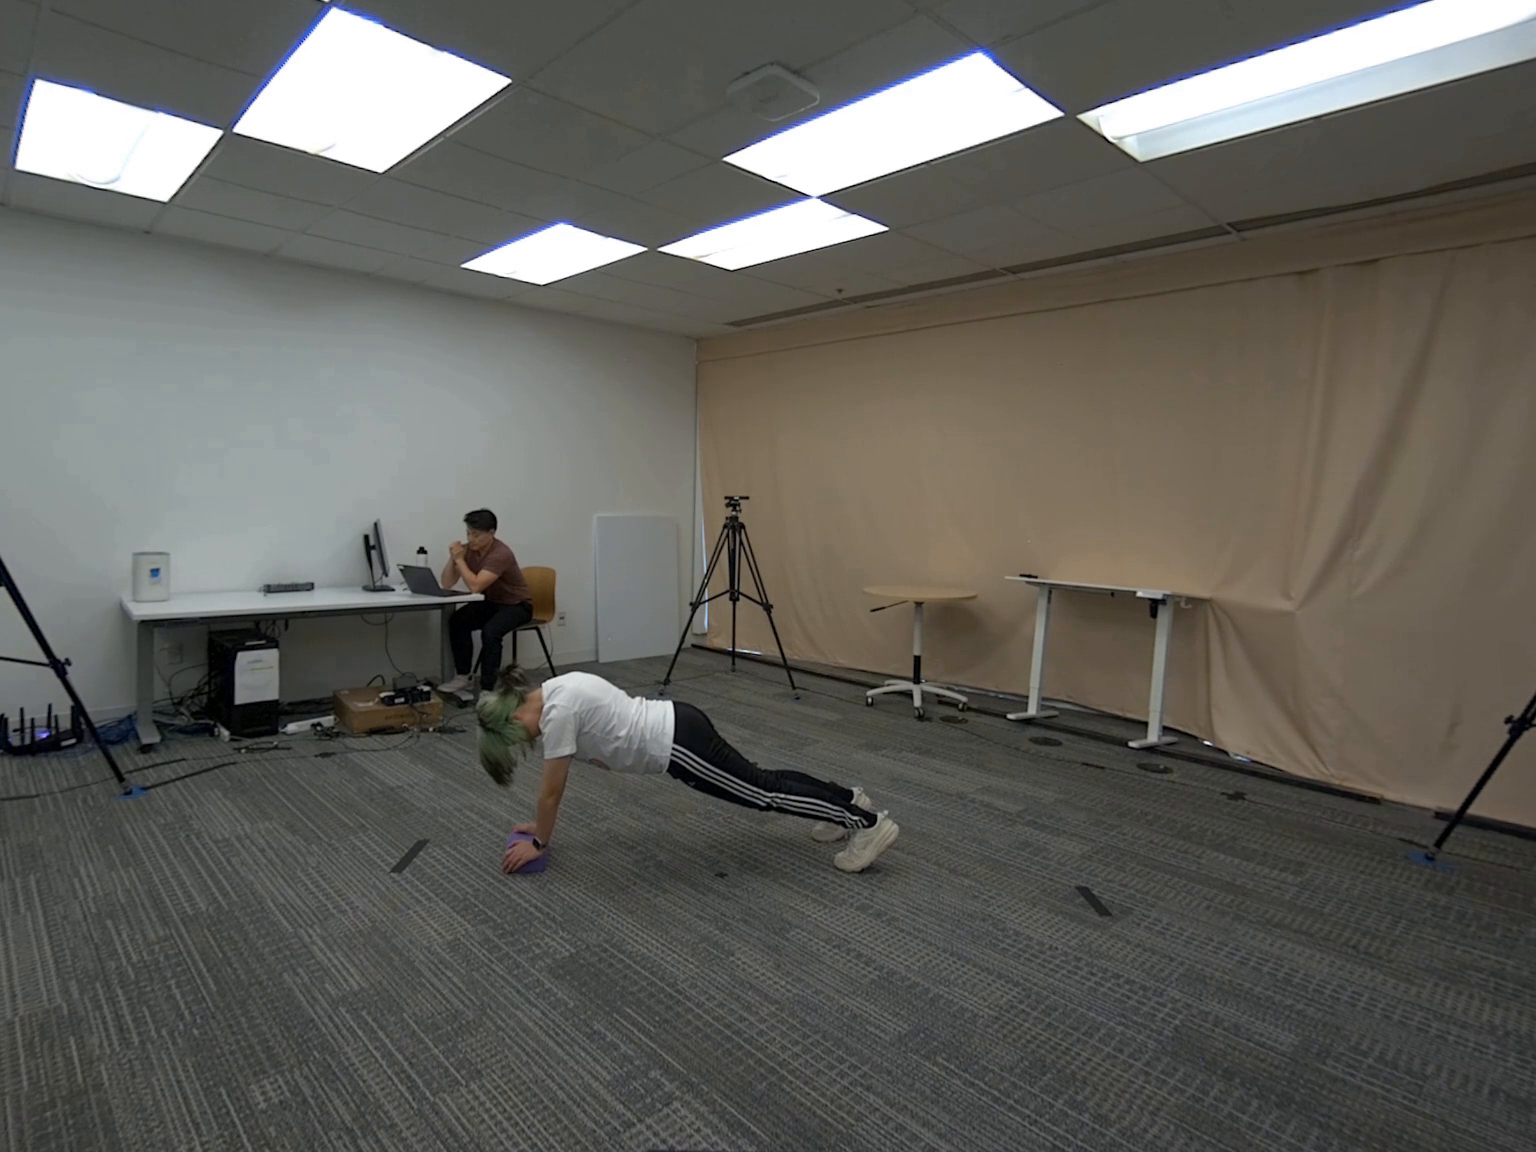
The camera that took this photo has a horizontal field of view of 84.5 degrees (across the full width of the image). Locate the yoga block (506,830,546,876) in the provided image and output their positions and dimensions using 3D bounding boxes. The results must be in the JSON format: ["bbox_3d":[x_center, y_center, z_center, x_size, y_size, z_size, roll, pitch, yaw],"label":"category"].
[{"bbox_3d":[-0.913,1.040,3.197,0.148,0.076,0.232,0,6,-9],"label":"yoga block"}]
